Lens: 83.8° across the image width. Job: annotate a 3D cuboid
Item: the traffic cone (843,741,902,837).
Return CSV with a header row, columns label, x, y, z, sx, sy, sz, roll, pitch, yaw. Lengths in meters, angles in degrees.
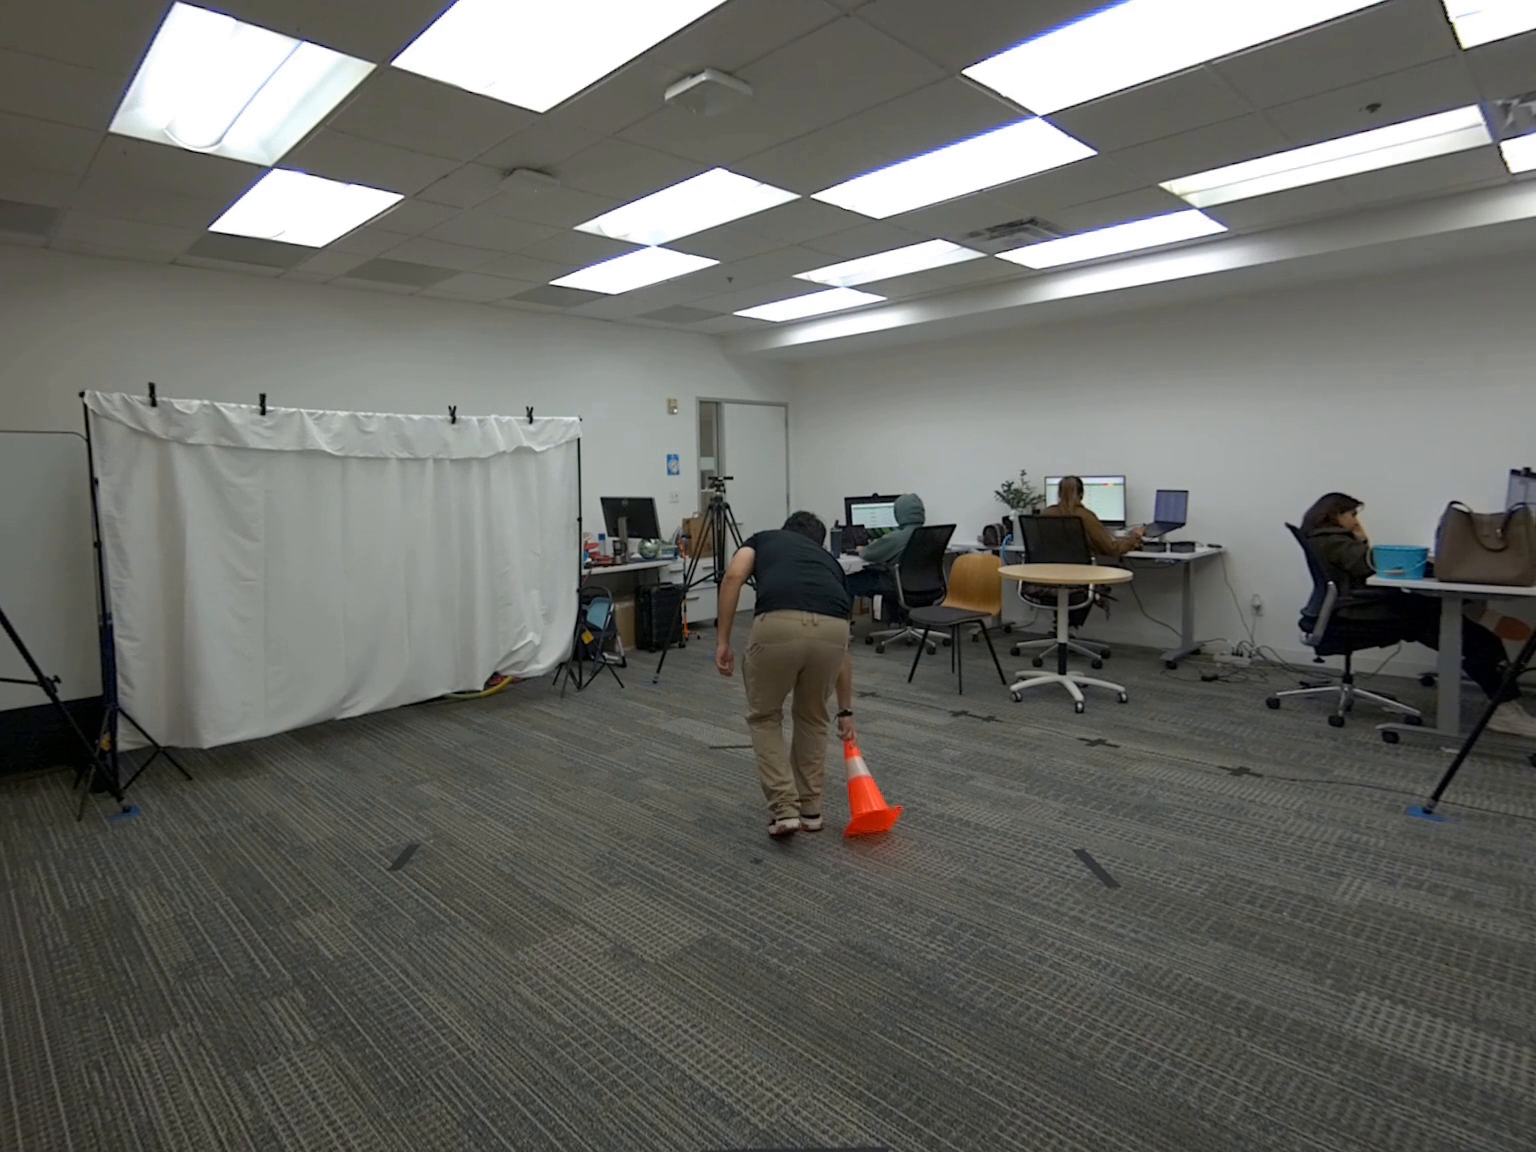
label,x,y,z,sx,sy,sz,roll,pitch,yaw
traffic cone,0.354,0.792,3.383,0.199,0.202,0.397,3,46,-22
